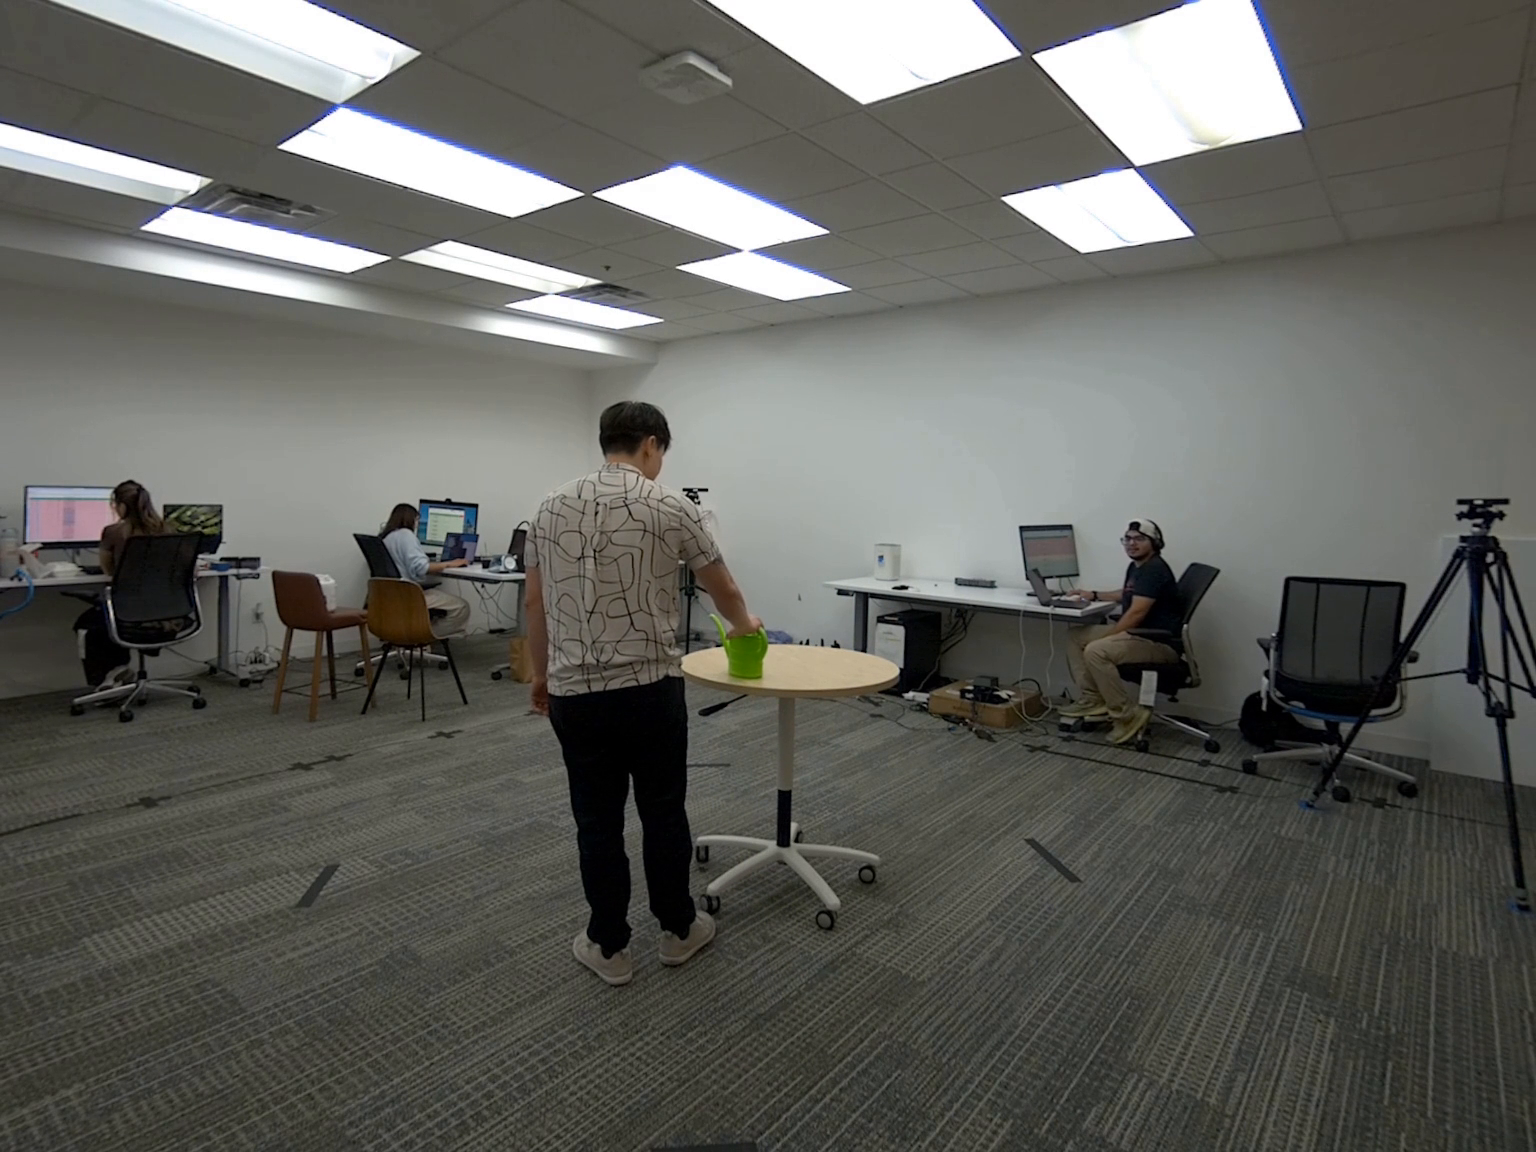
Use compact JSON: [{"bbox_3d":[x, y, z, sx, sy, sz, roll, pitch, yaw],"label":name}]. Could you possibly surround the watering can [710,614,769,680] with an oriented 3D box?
[{"bbox_3d":[-0.107,0.231,2.812,0.095,0.176,0.287,-1,7,-32],"label":"watering can"}]
